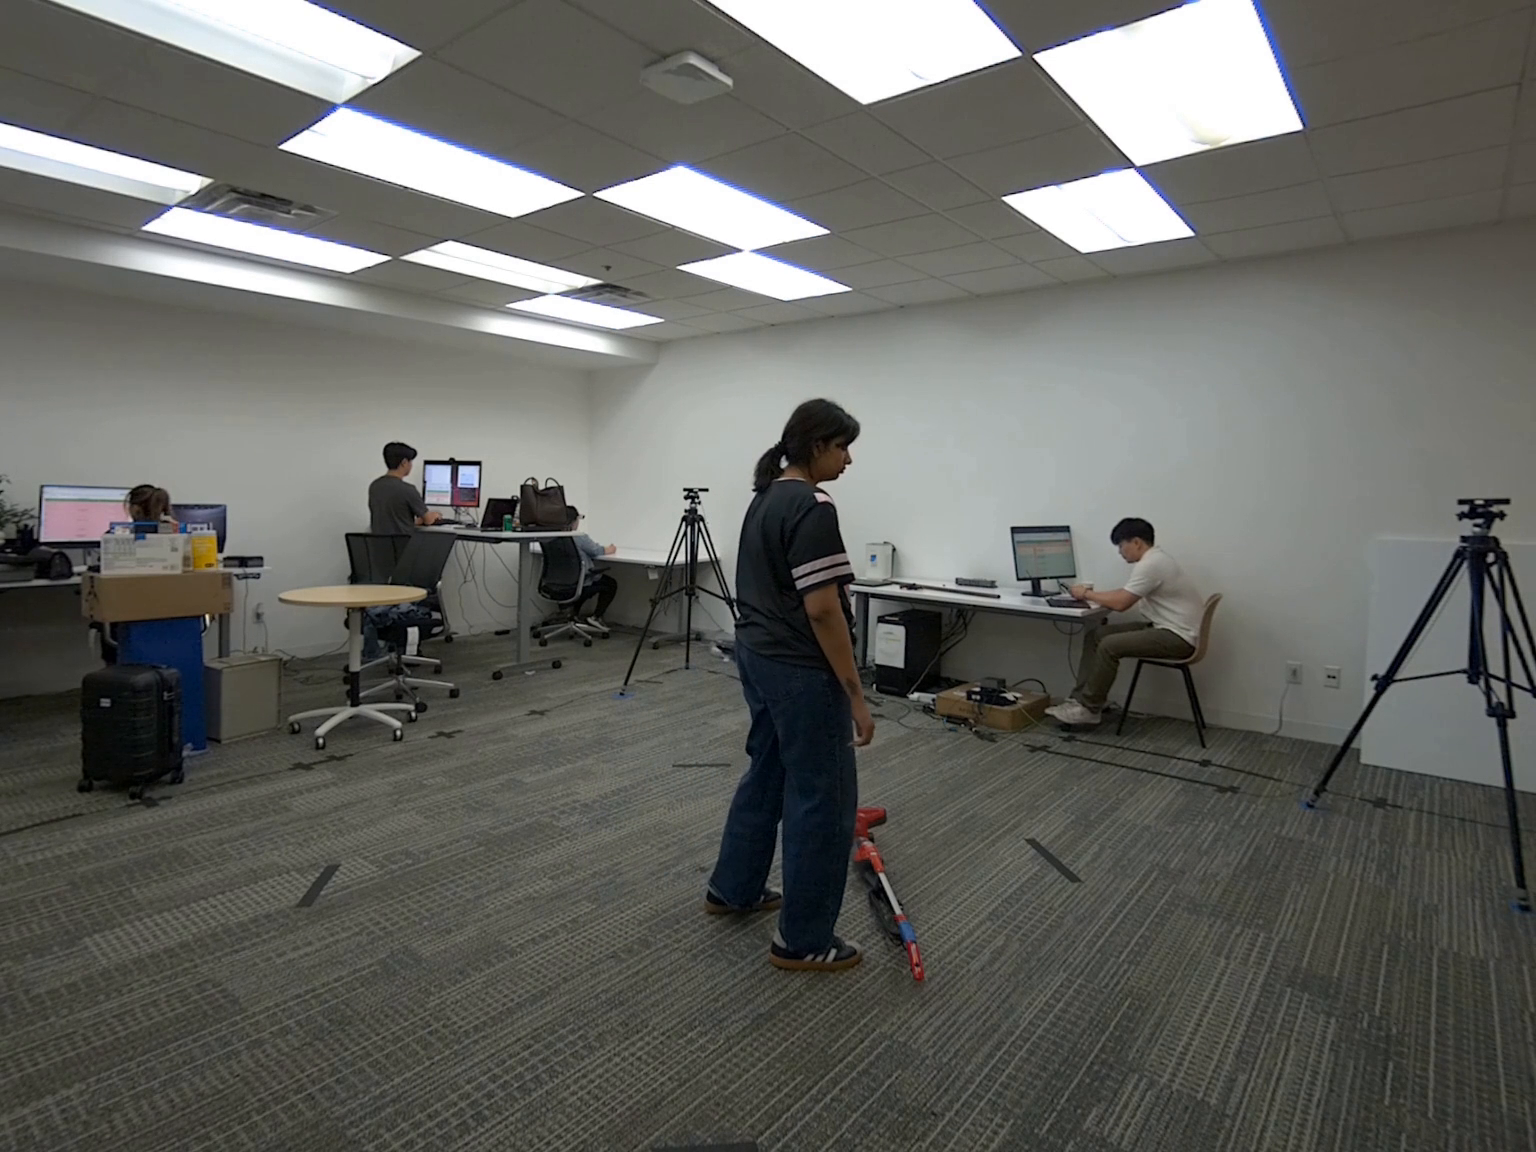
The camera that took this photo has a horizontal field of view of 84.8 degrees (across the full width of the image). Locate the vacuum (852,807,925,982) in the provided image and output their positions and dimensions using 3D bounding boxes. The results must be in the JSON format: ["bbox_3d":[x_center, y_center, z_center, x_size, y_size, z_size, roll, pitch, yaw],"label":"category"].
[{"bbox_3d":[0.372,1.044,2.849,0.252,0.143,1.058,1,6,-5],"label":"vacuum"}]
